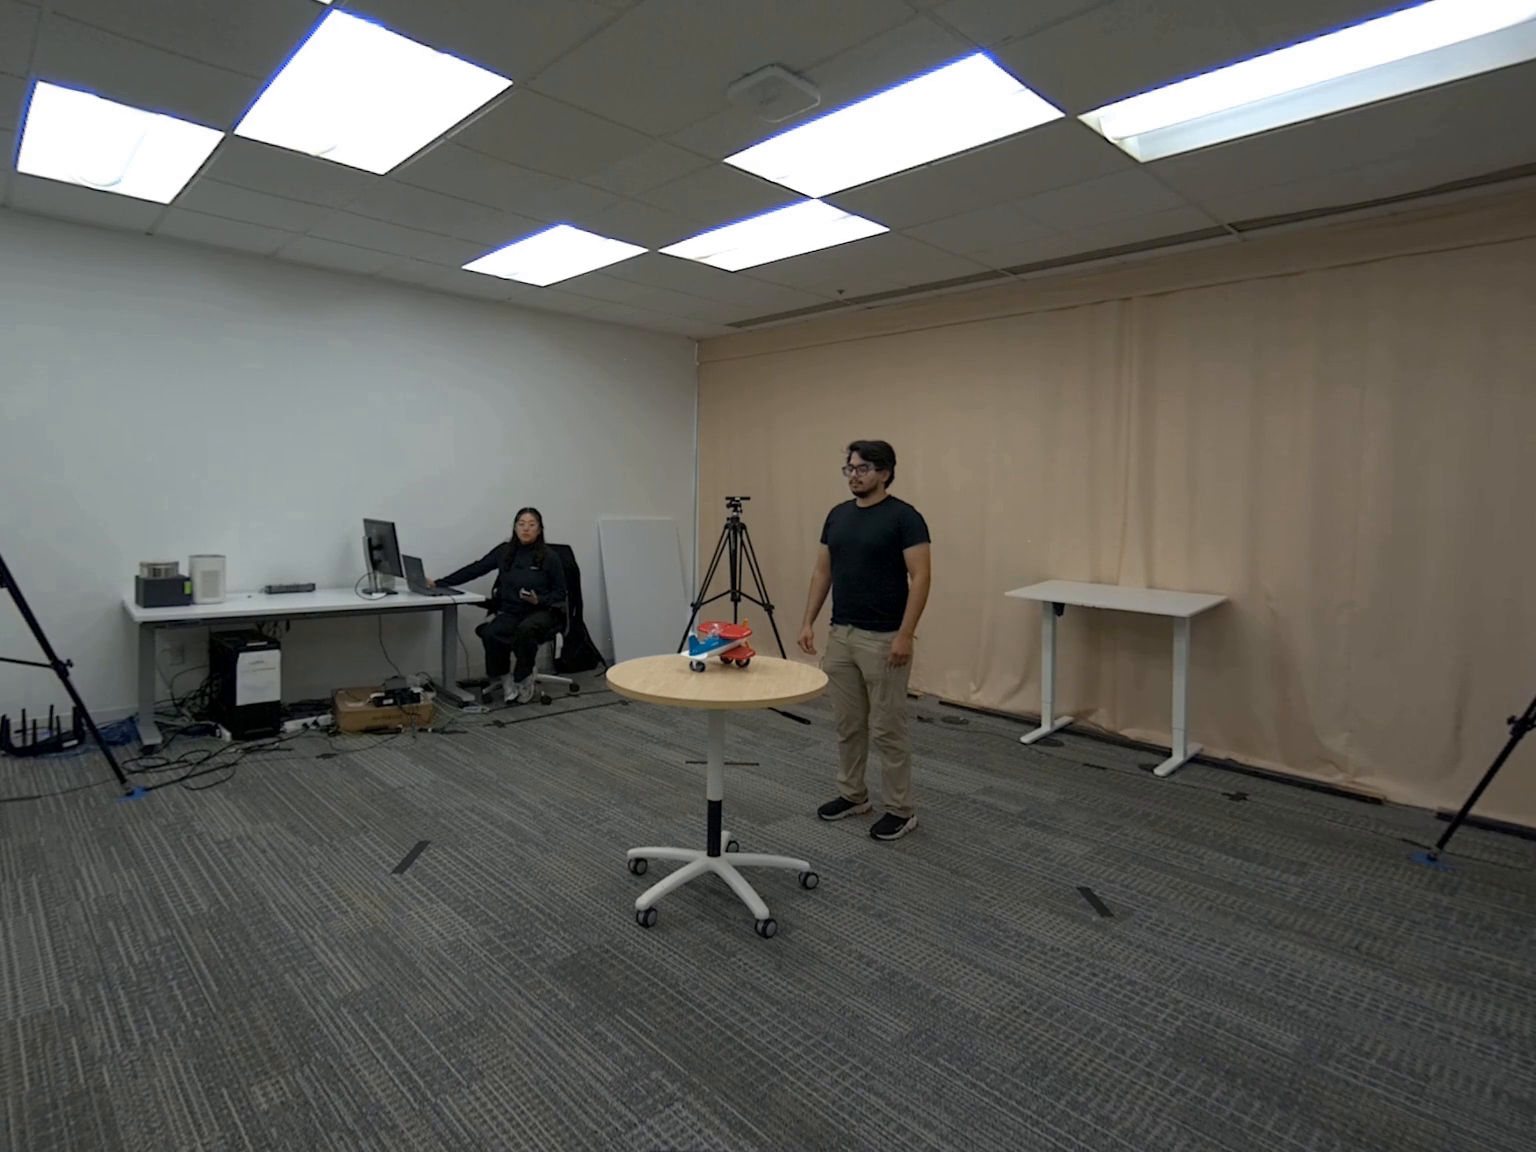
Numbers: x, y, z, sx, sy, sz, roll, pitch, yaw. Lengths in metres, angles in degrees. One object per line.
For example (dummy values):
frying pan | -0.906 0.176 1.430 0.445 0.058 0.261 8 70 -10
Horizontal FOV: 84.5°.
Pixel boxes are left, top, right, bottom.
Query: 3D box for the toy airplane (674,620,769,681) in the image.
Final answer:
toy airplane | -0.162 0.257 2.994 0.255 0.156 0.255 3 3 20
